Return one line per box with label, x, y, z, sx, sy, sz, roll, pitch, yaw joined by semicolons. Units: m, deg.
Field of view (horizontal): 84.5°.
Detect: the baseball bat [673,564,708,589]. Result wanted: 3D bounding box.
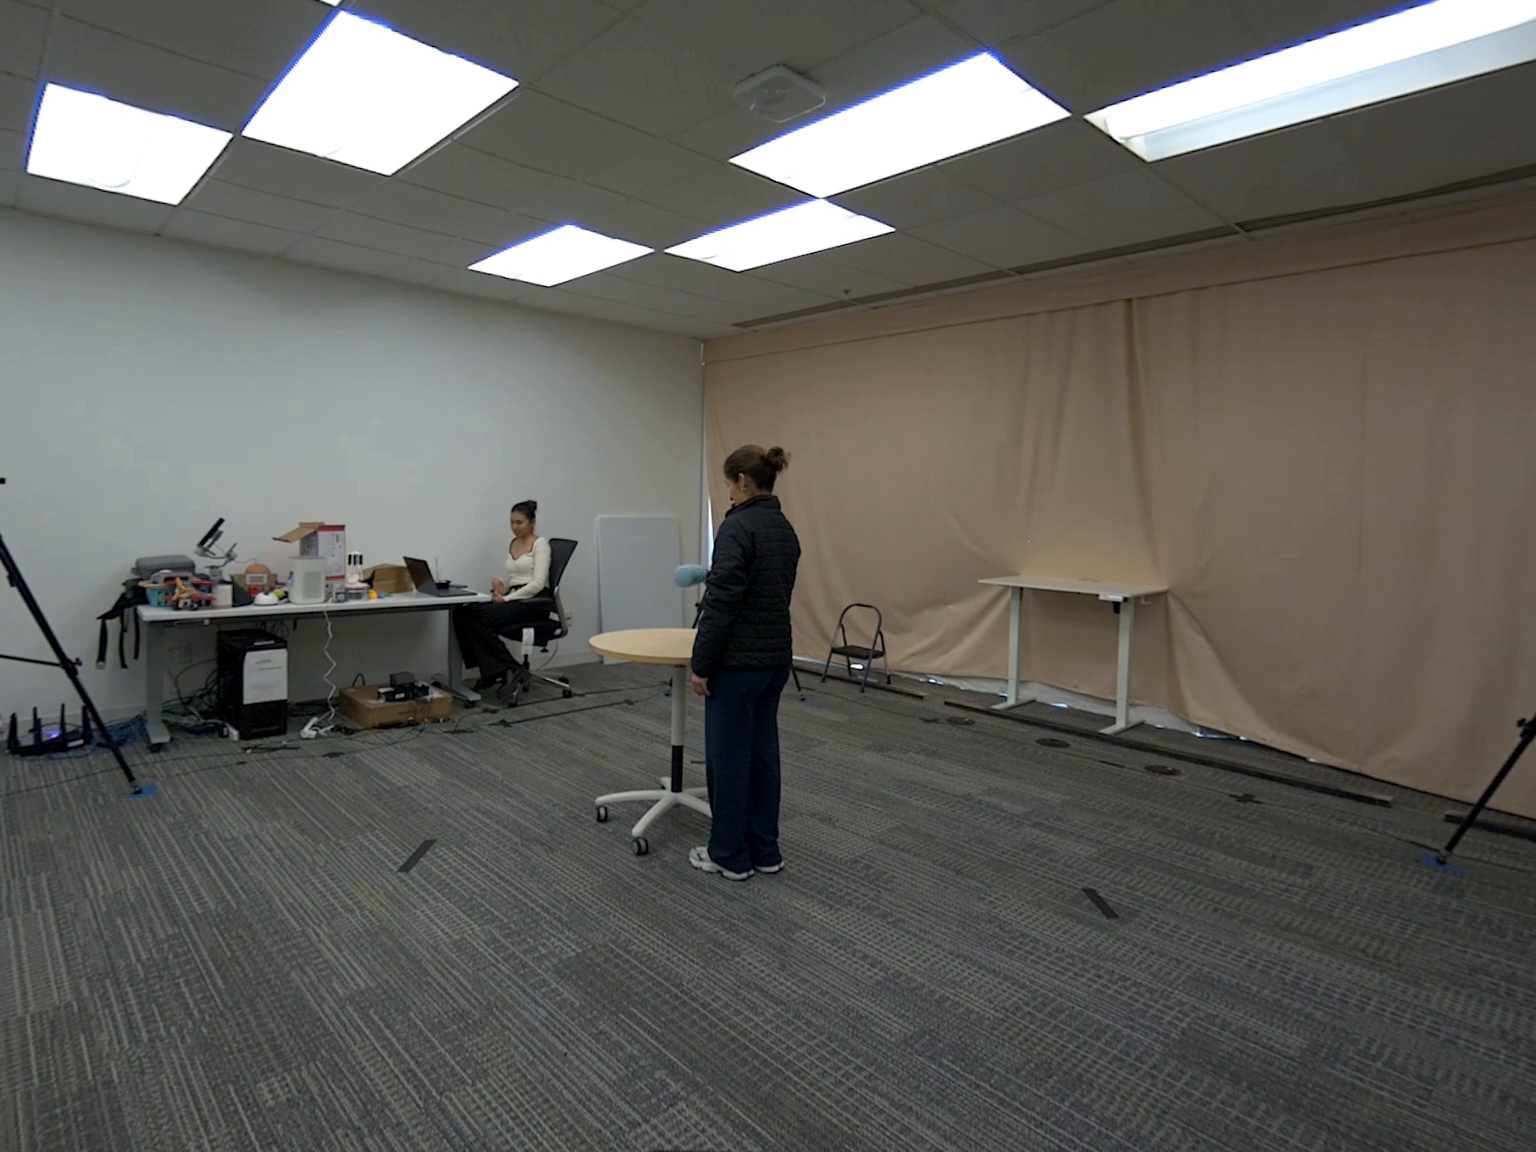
baseball bat;-0.283;-0.010;3.488;0.090;0.089;0.540;2;4;8
